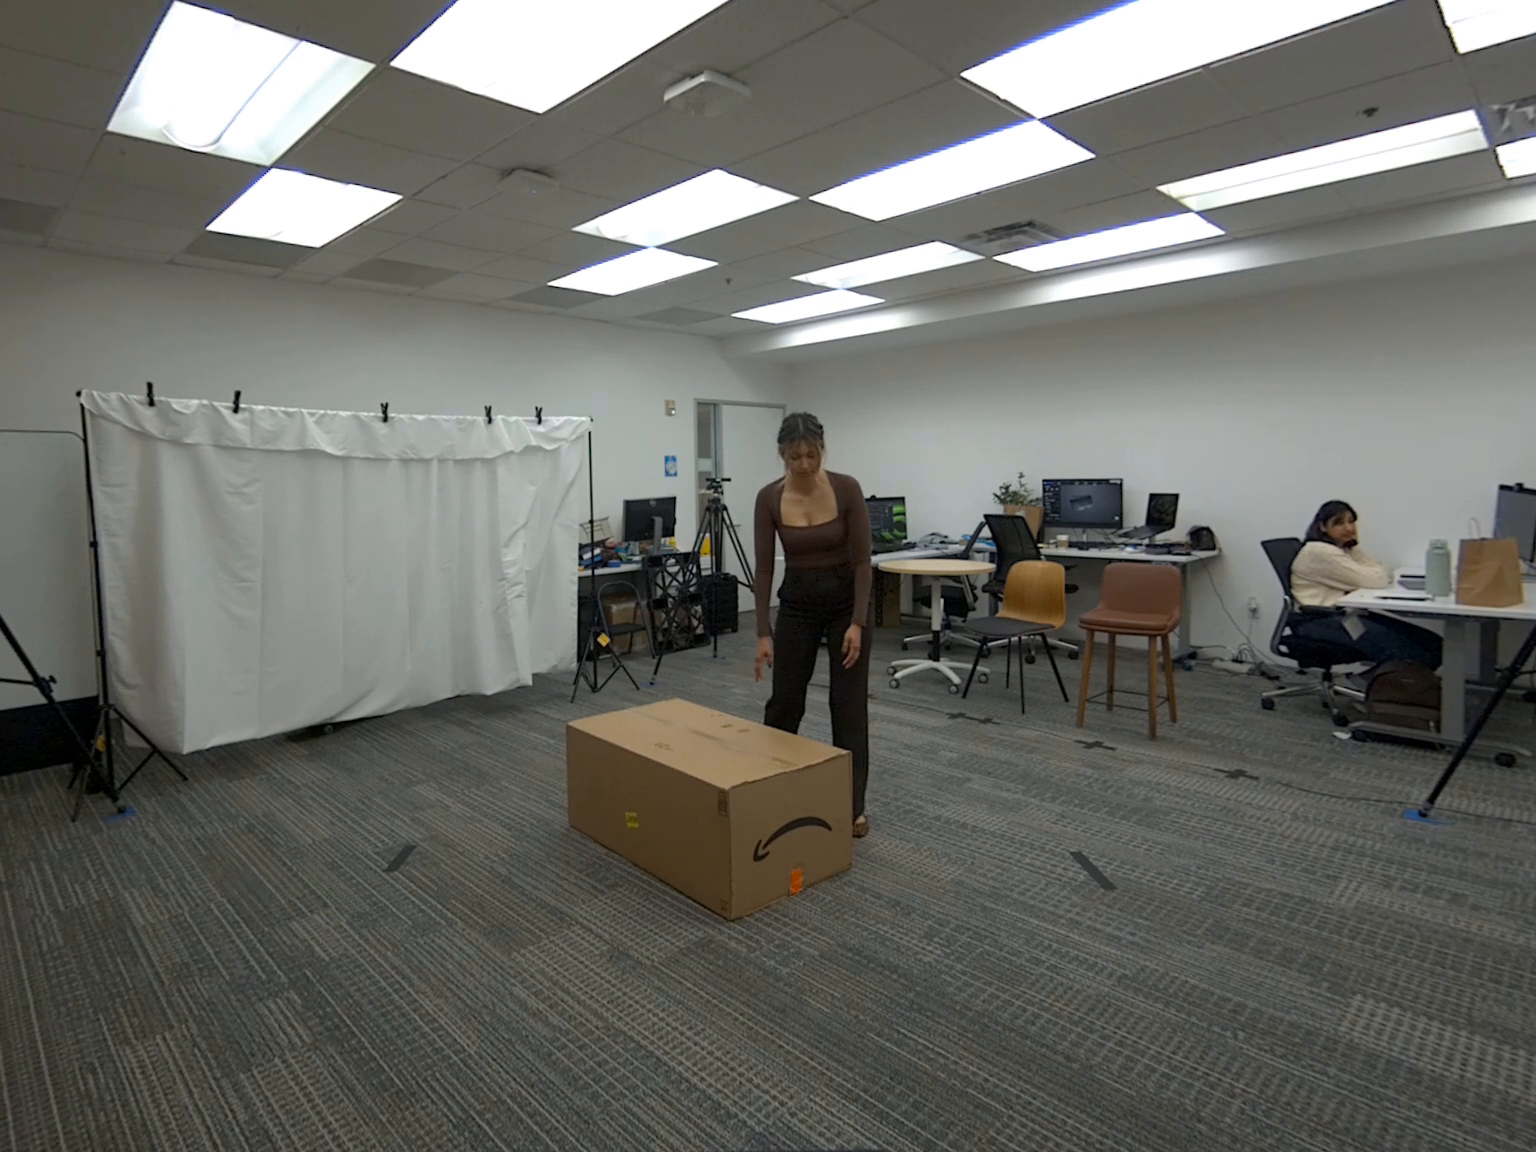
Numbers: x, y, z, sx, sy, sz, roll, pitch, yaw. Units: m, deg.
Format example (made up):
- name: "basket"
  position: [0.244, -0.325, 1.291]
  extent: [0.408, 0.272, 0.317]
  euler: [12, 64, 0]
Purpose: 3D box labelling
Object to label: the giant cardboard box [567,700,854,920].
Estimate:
- name: "giant cardboard box"
  position: [-0.260, 0.821, 3.247]
  extent: [0.569, 0.445, 1.058]
  euler: [-7, 8, -41]
